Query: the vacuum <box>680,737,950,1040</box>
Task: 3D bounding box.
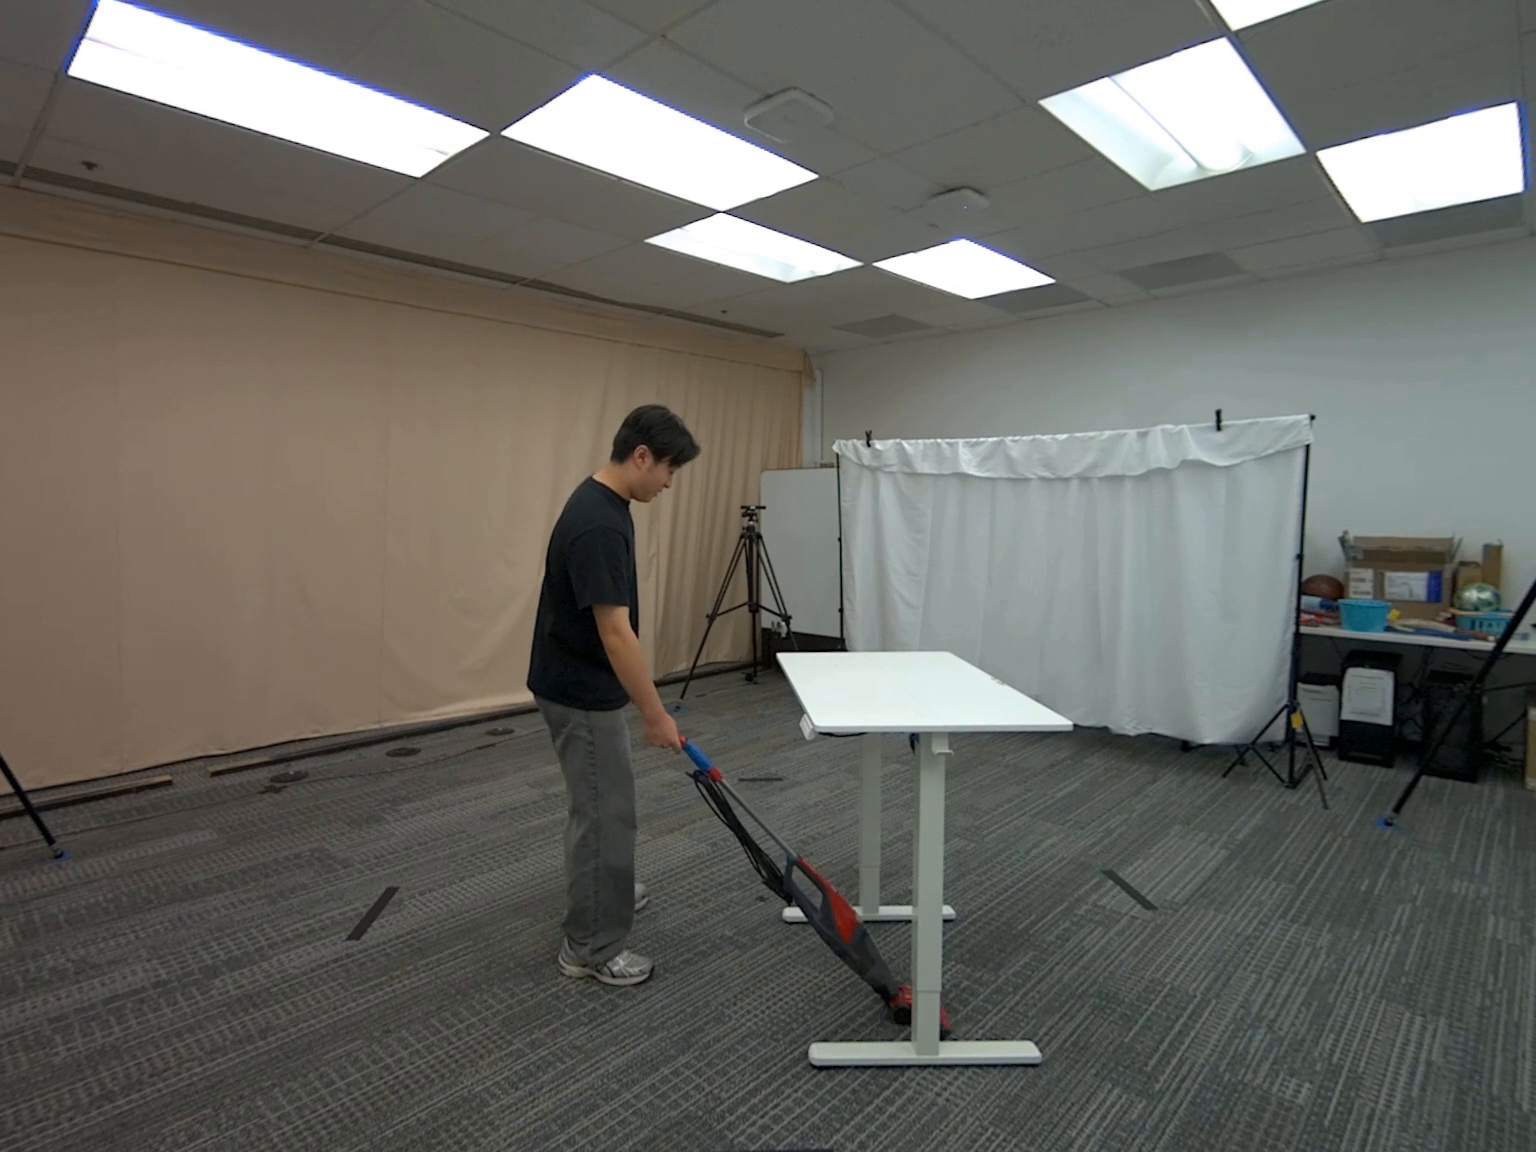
[{"bbox_3d":[0.041,0.803,2.326,0.144,1.053,0.251,-45,-2,12],"label":"vacuum"}]
